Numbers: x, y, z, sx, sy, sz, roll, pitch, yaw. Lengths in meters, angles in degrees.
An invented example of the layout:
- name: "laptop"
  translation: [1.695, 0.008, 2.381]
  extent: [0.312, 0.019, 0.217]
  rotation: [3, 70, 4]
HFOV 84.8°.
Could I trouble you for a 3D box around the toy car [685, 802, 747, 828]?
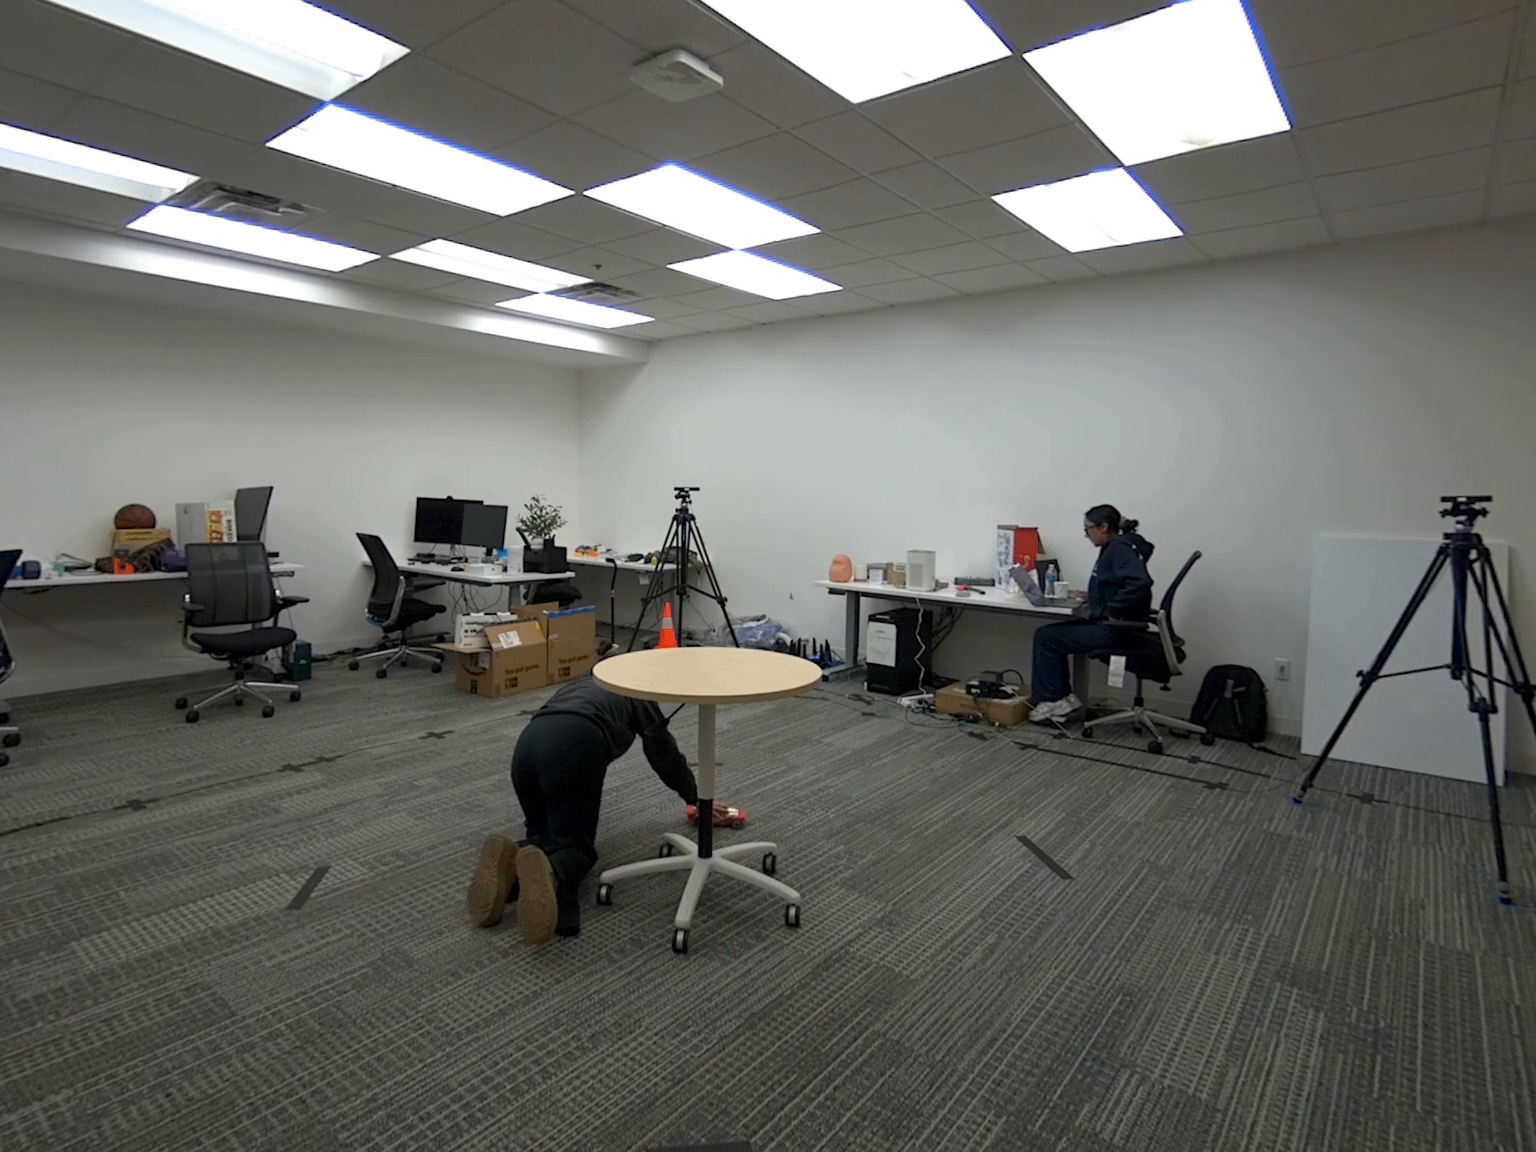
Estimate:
- name: "toy car"
  translation: [-0.226, 0.995, 3.541]
  extent: [0.255, 0.083, 0.131]
  rotation: [13, 7, 0]
